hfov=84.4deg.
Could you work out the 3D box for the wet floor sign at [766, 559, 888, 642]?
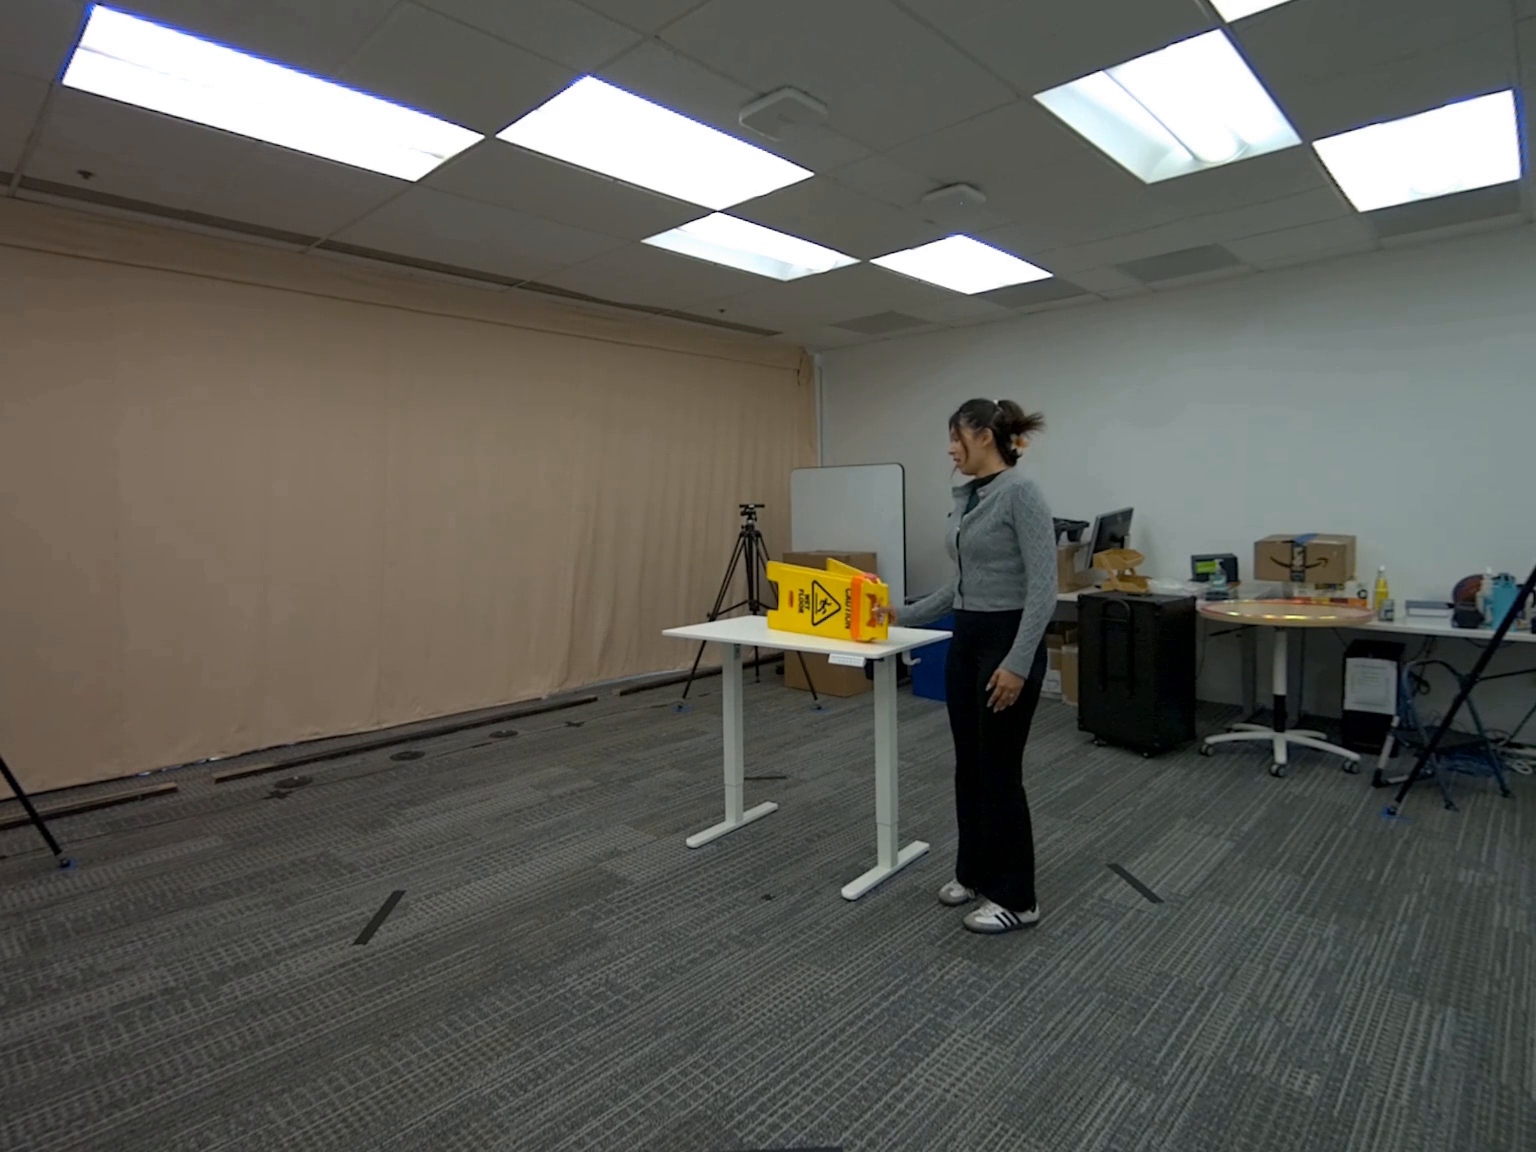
[{"bbox_3d":[0.276,0.099,3.247,0.283,0.281,0.664,-3,6,-26],"label":"wet floor sign"}]
